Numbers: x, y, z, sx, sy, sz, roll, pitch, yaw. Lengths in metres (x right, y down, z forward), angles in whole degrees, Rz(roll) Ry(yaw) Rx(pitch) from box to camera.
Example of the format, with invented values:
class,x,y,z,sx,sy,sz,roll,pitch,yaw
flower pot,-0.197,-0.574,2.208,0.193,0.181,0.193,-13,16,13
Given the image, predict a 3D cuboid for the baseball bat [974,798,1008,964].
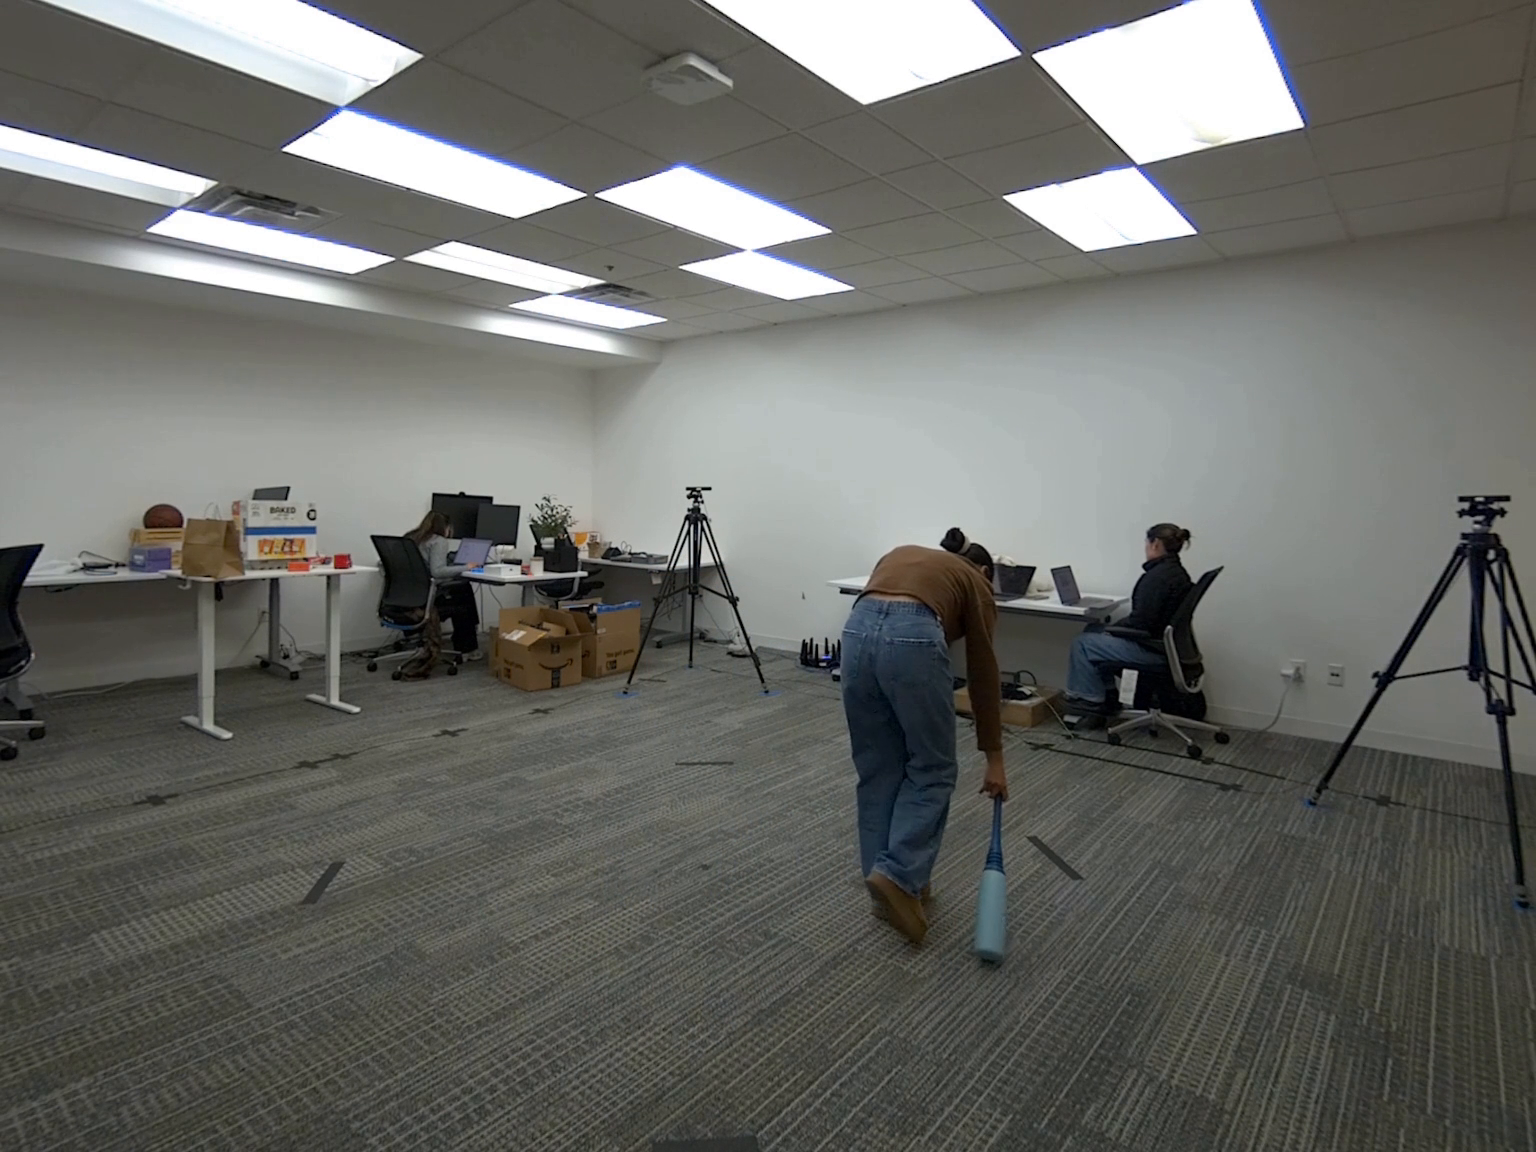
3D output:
class,x,y,z,sx,sy,sz,roll,pitch,yaw
baseball bat,0.705,0.928,2.668,0.091,0.552,0.086,1,-42,18
